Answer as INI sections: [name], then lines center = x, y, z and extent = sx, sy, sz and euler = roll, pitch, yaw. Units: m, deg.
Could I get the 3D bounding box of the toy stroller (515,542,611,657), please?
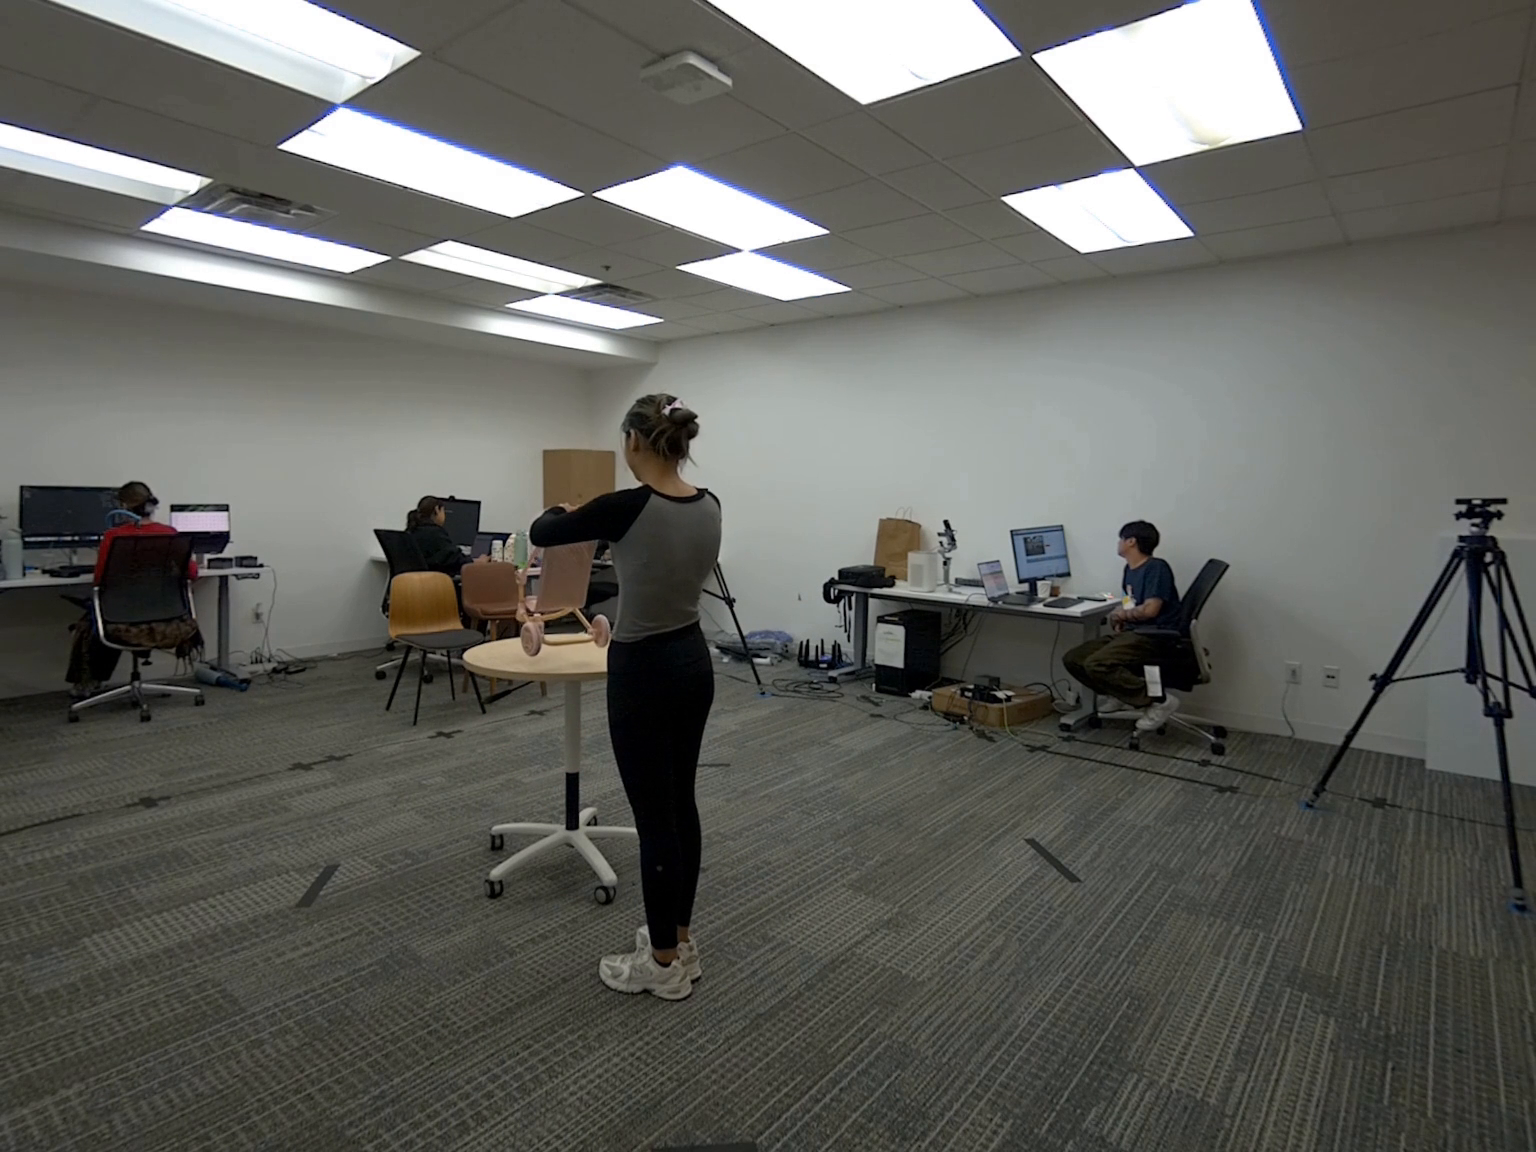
[toy stroller]
center = -0.715, 0.017, 2.816
extent = 0.273, 0.530, 0.354
euler = -1, 15, -33
